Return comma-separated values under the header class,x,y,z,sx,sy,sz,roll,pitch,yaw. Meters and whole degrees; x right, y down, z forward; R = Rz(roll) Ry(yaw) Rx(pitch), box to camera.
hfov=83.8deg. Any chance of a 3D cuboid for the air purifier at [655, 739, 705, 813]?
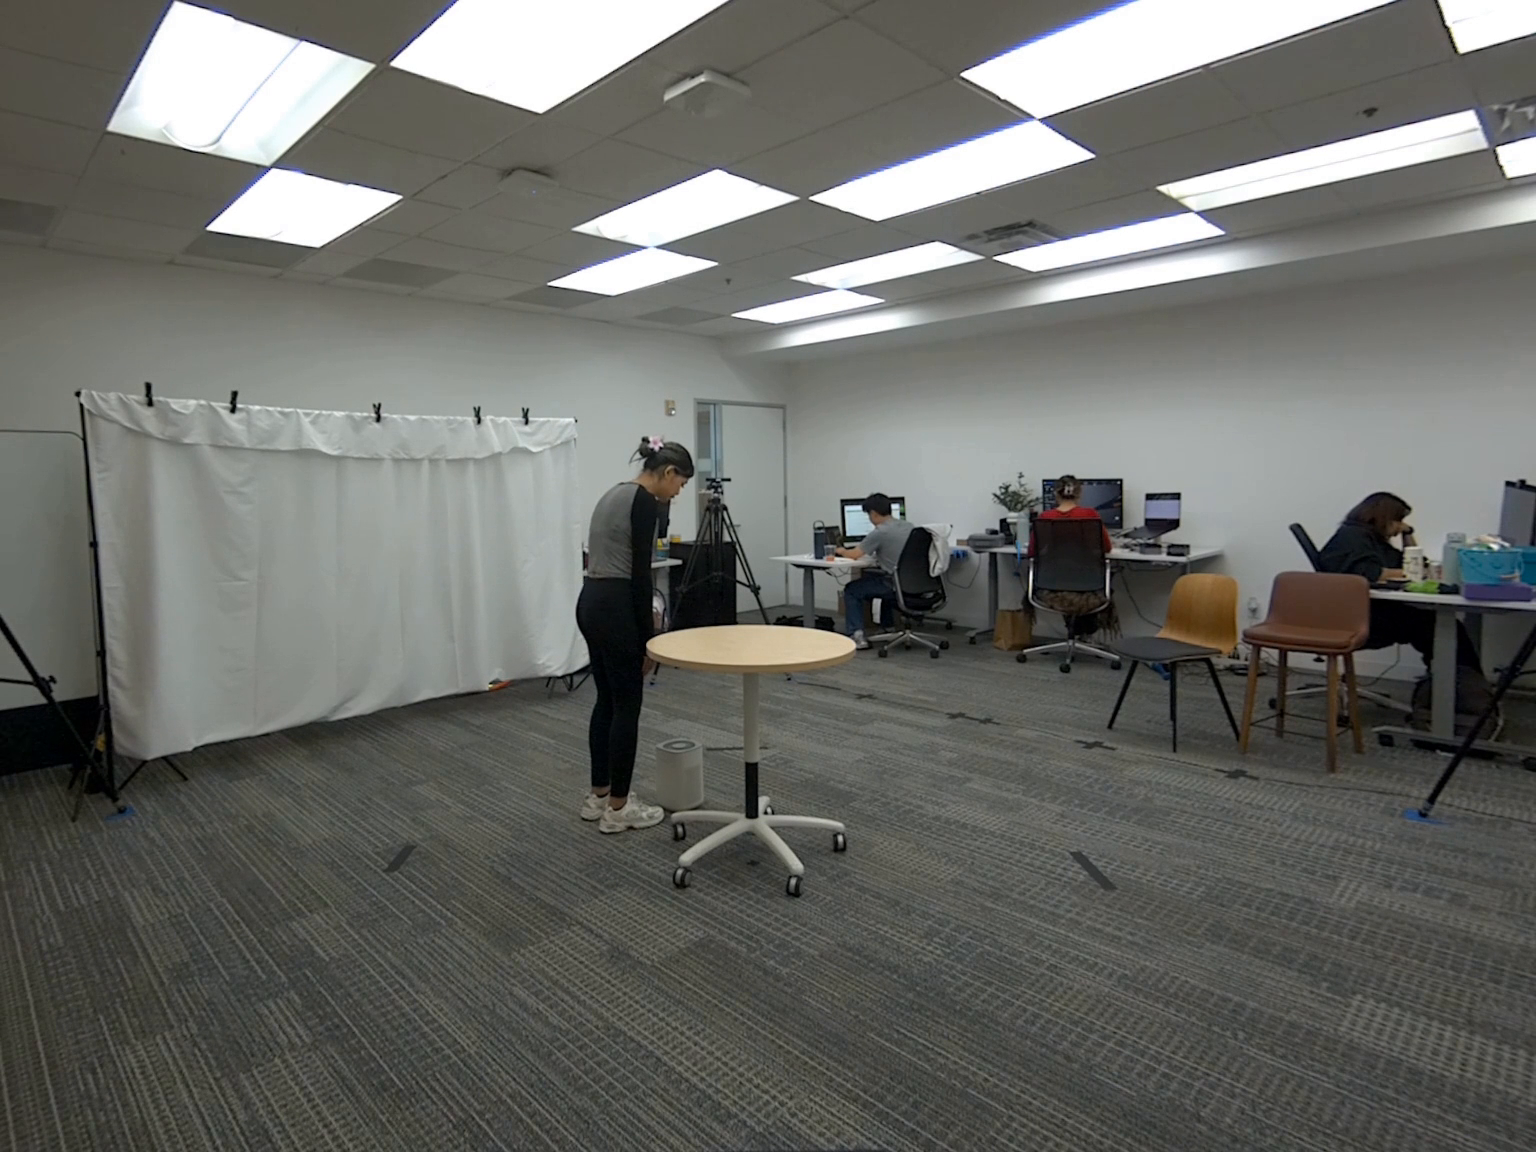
class,x,y,z,sx,sy,sz,roll,pitch,yaw
air purifier,-0.375,0.857,3.665,0.176,0.264,0.167,3,6,41
